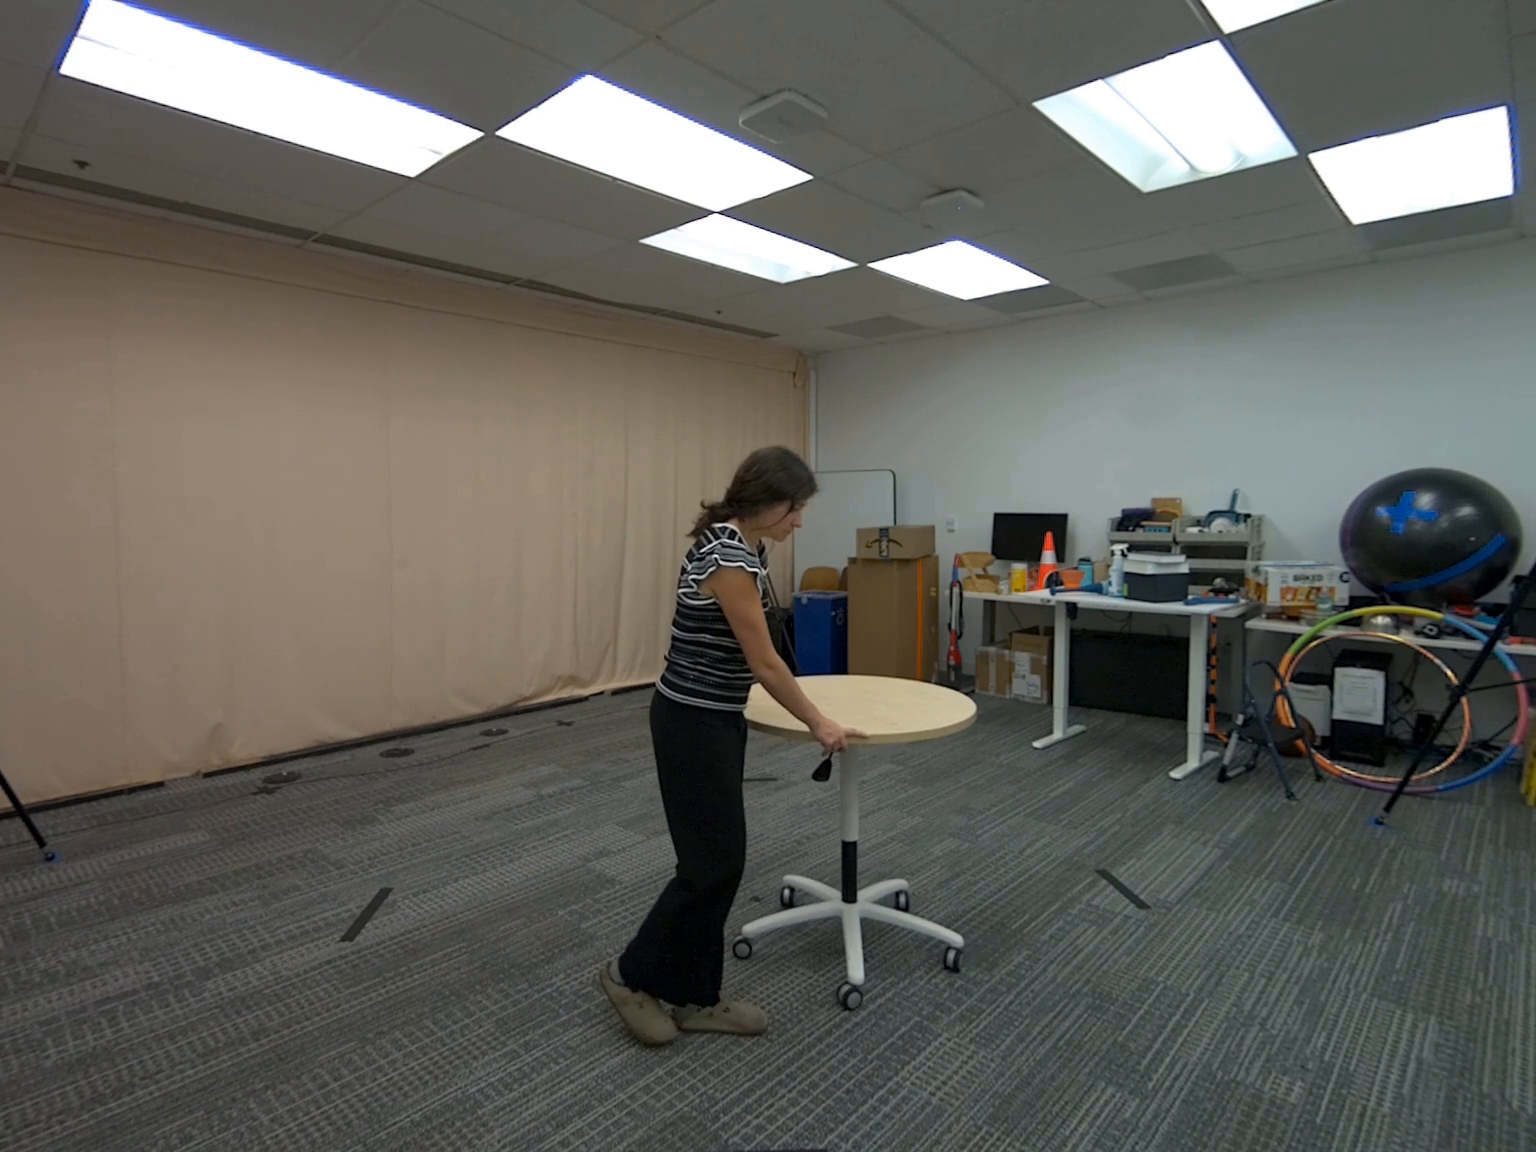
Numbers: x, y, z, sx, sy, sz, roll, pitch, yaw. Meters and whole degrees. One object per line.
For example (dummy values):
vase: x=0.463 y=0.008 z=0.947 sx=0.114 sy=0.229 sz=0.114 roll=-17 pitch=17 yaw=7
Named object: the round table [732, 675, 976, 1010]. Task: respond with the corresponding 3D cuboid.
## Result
round table: x=0.261 y=0.783 z=2.660 sx=0.763 sy=0.792 sz=0.767 roll=0 pitch=4 yaw=-2
